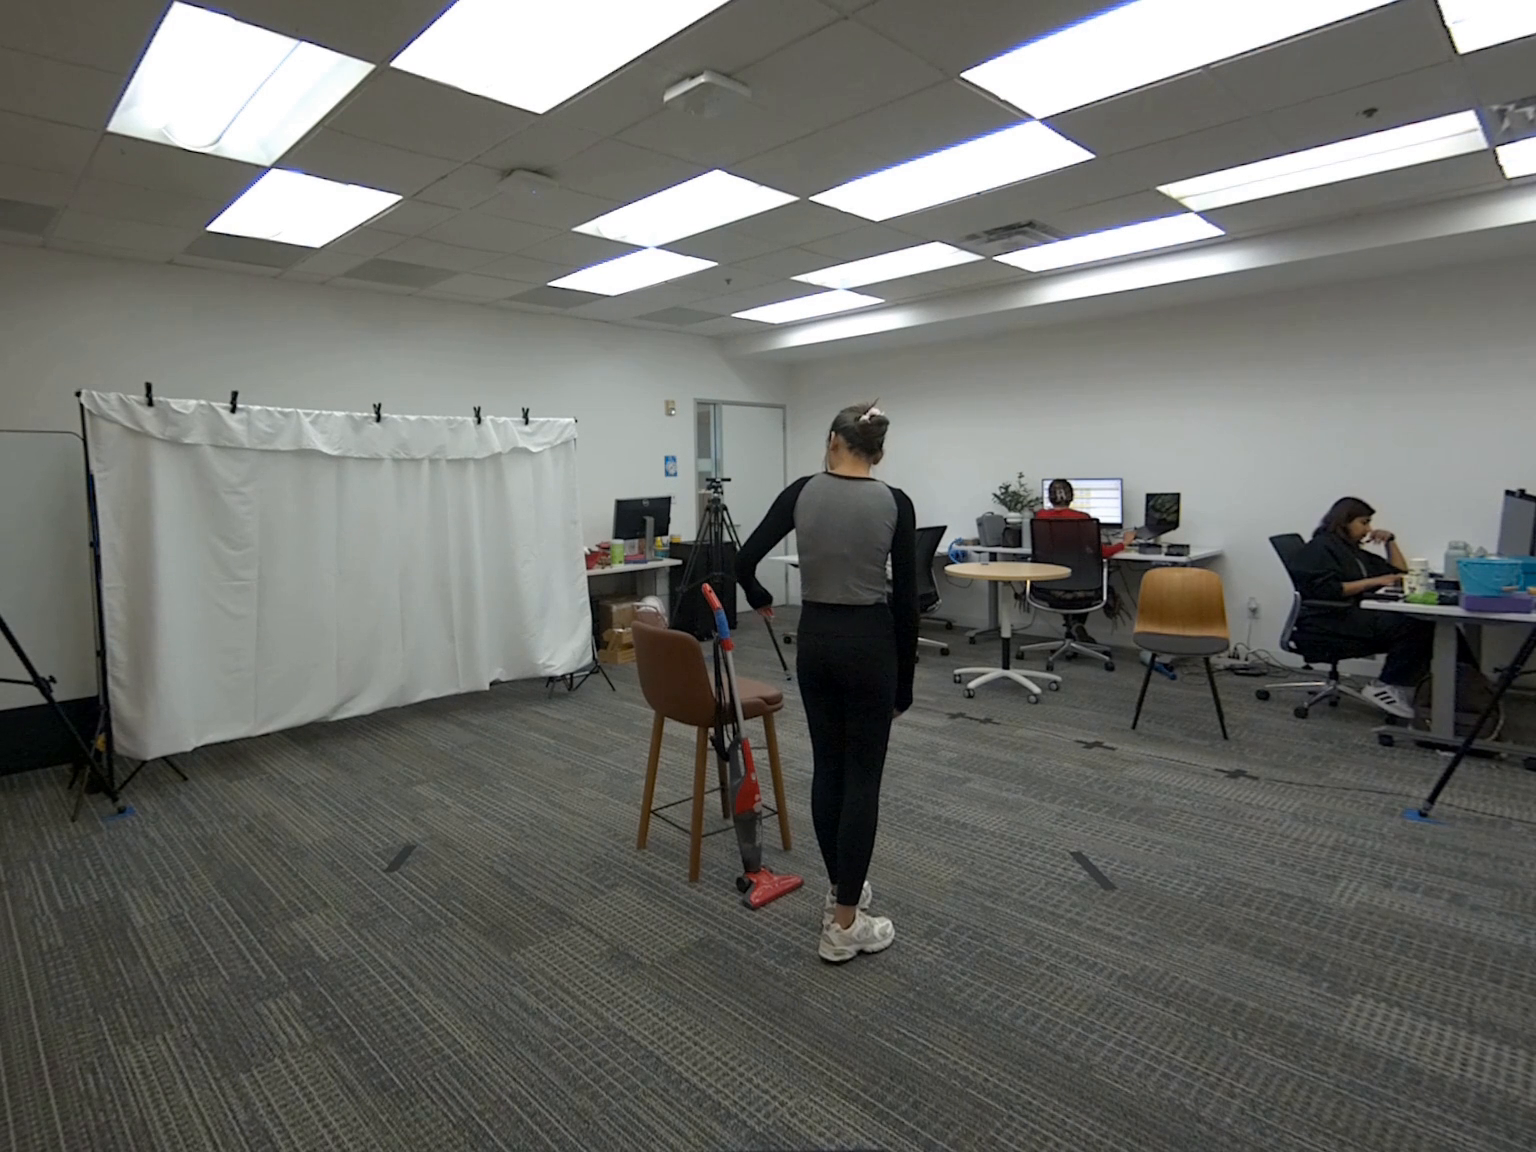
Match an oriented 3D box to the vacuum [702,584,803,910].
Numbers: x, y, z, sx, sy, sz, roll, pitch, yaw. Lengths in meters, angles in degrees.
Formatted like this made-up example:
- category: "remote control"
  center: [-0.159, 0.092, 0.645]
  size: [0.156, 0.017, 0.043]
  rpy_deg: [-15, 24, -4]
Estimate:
- category: "vacuum"
  center: [-0.111, 0.550, 2.950]
  size: [0.246, 1.057, 0.146]
  rpy_deg: [-6, -8, -34]
